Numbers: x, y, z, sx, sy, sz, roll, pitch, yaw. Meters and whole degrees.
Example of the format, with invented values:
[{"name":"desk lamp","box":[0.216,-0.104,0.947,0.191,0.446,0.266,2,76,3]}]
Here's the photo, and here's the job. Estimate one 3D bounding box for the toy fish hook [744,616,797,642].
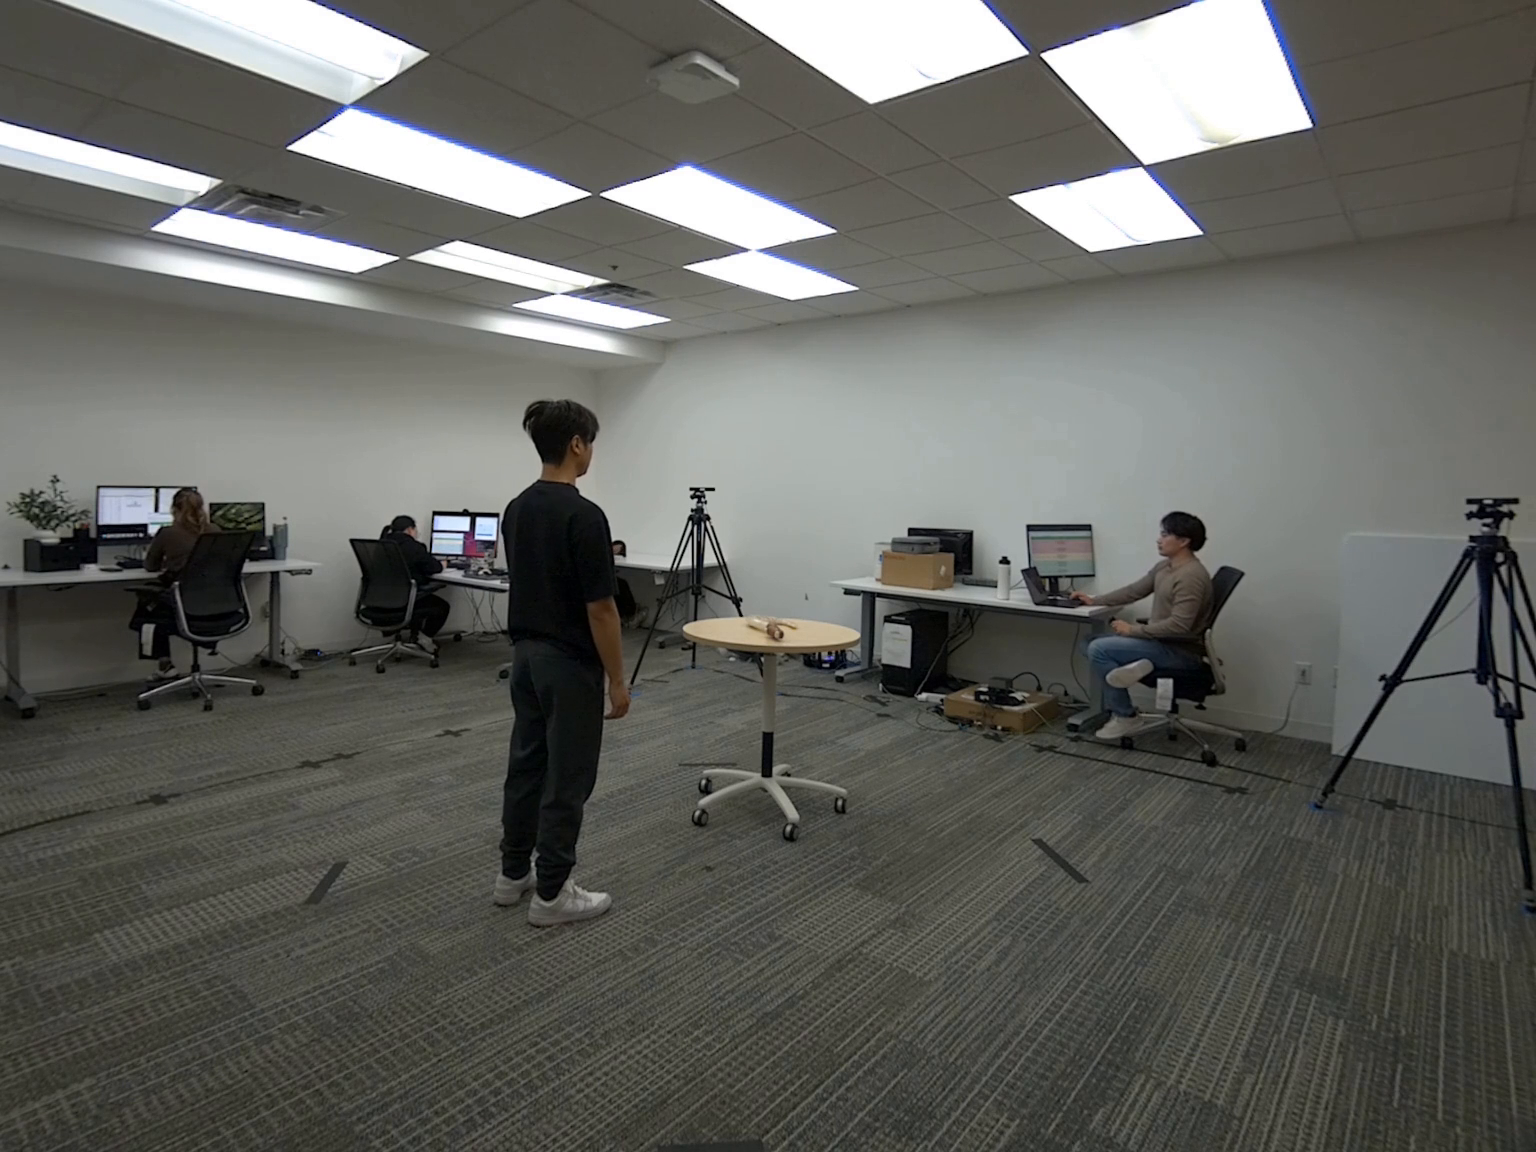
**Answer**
[{"name":"toy fish hook","box":[0.040,0.209,3.652,0.222,0.048,0.513,-2,5,-10]}]
